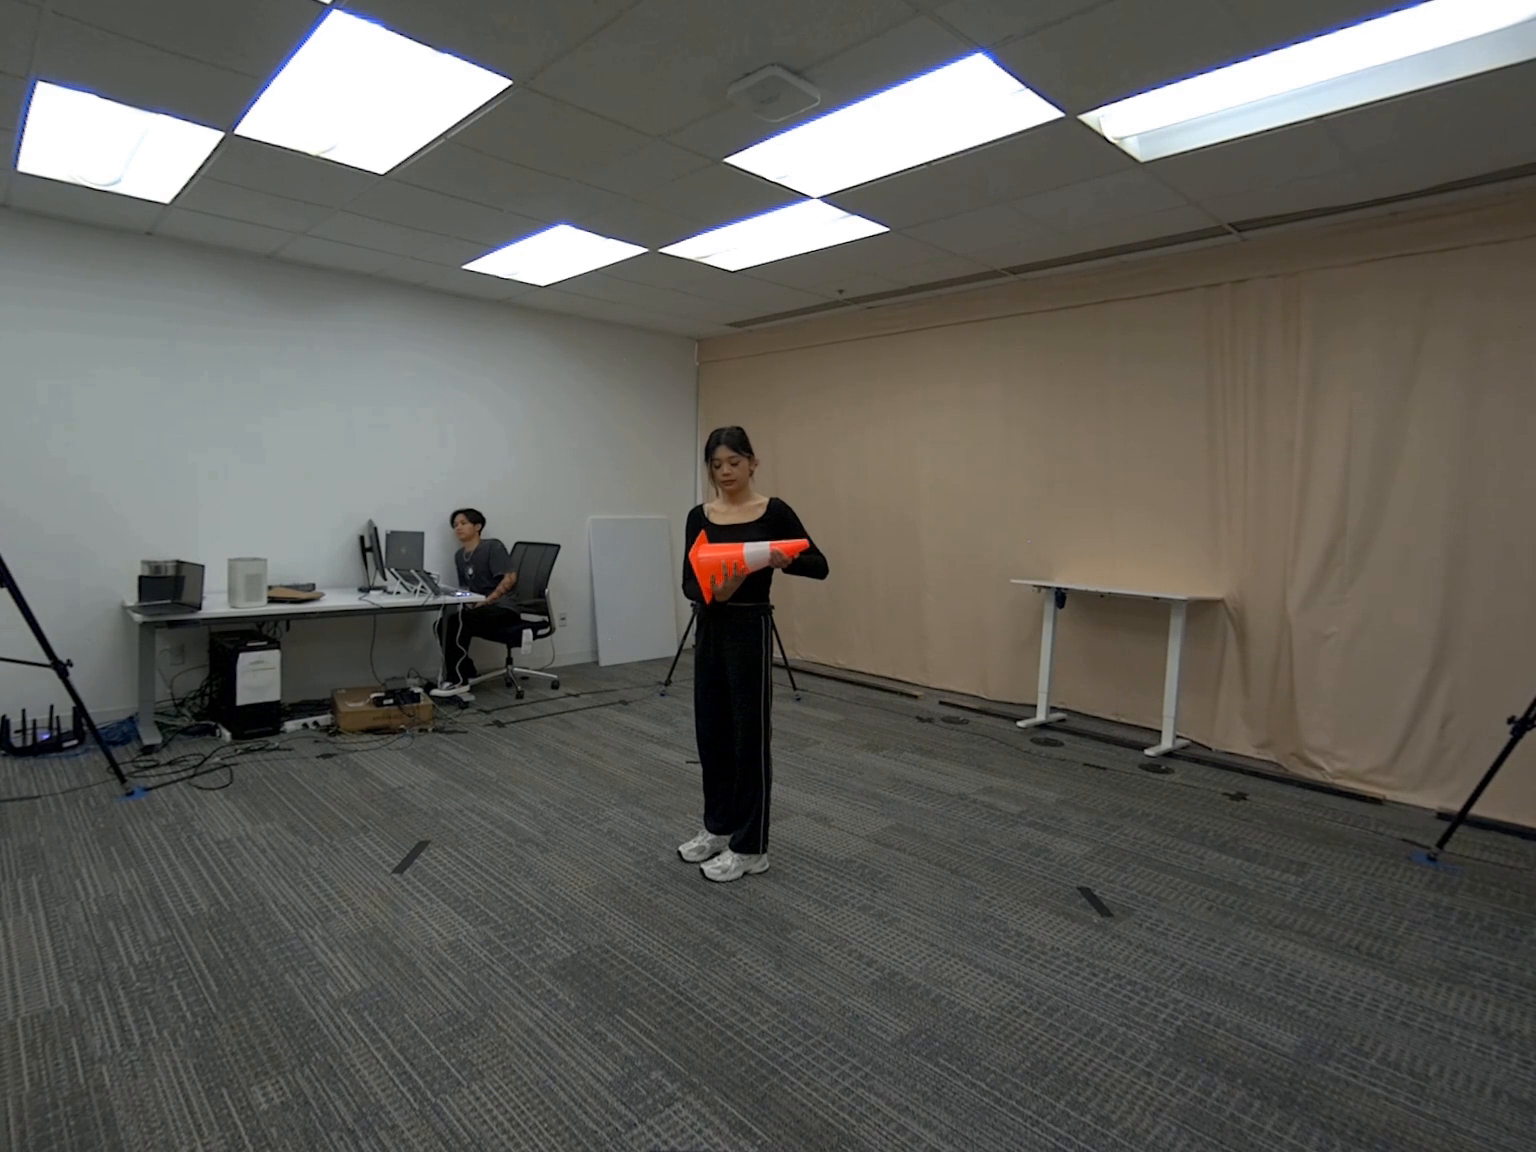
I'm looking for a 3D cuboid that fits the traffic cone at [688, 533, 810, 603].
[{"bbox_3d":[-0.048,-0.068,2.878,0.388,0.199,0.207,-11,26,19],"label":"traffic cone"}]
